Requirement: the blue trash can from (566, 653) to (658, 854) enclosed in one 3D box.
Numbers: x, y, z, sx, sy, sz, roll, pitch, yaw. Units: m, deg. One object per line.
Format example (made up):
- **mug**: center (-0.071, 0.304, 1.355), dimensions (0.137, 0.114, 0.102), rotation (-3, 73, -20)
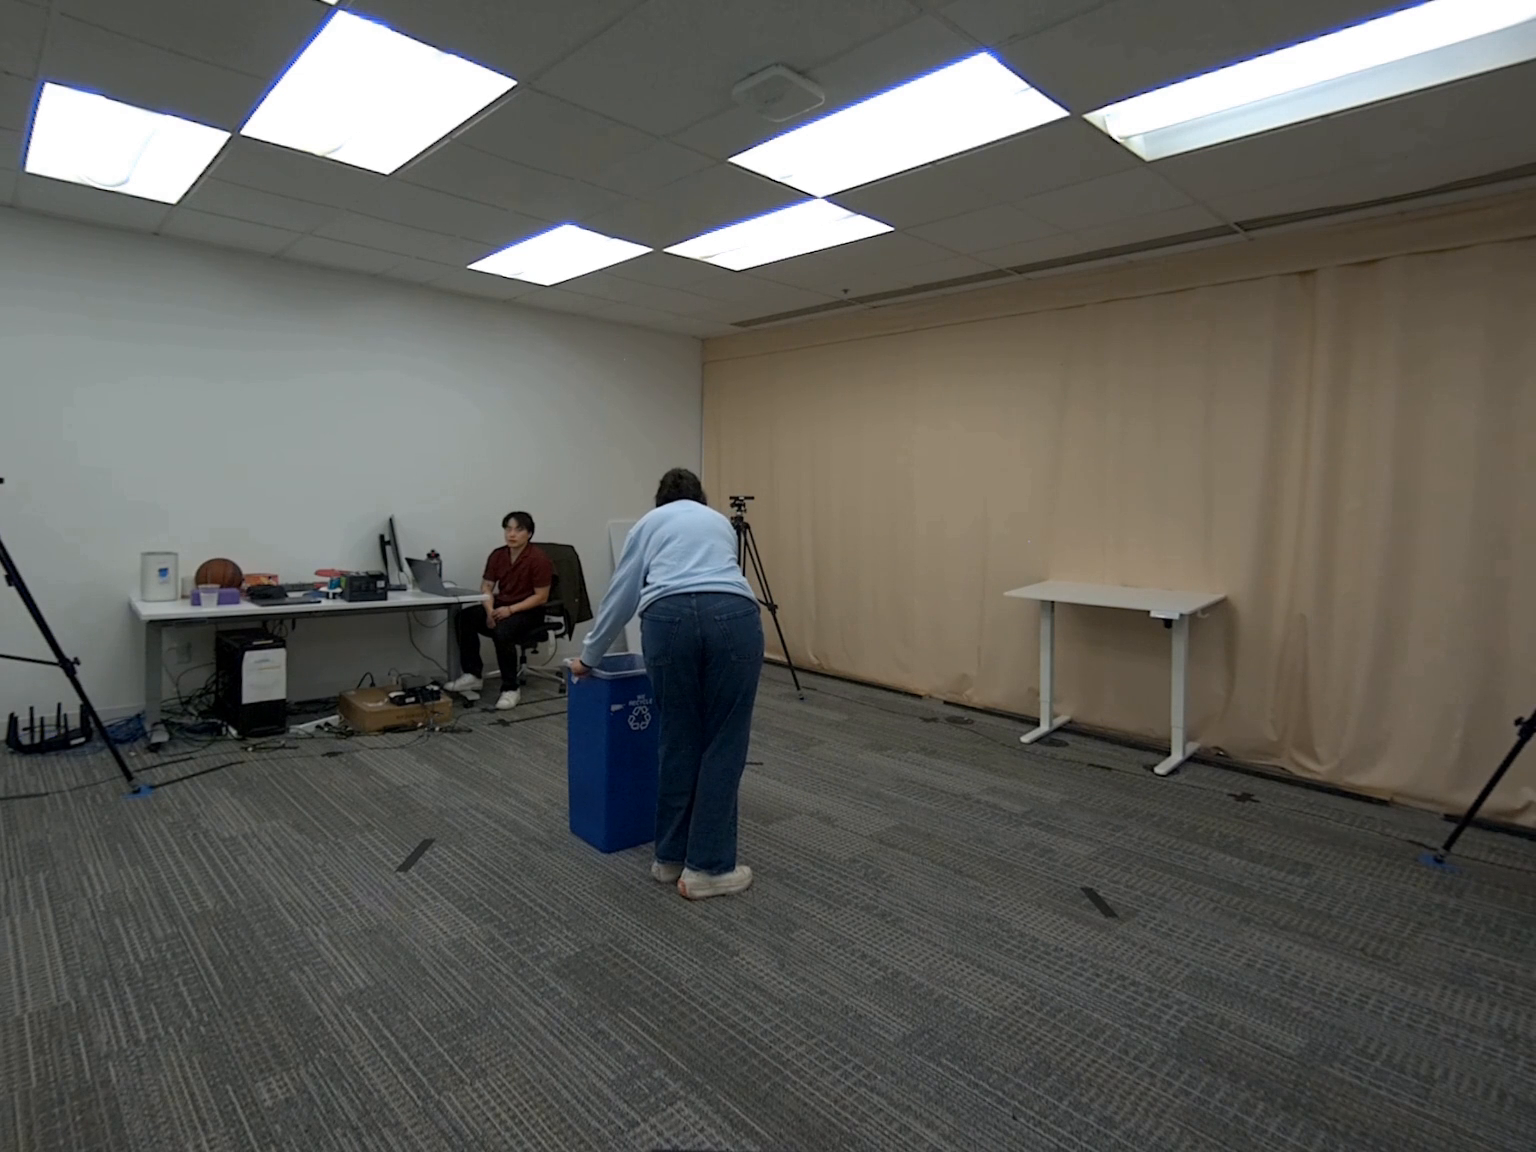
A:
- **blue trash can**: center (-0.608, 0.705, 3.457), dimensions (0.365, 0.712, 0.388), rotation (-1, 5, -41)
